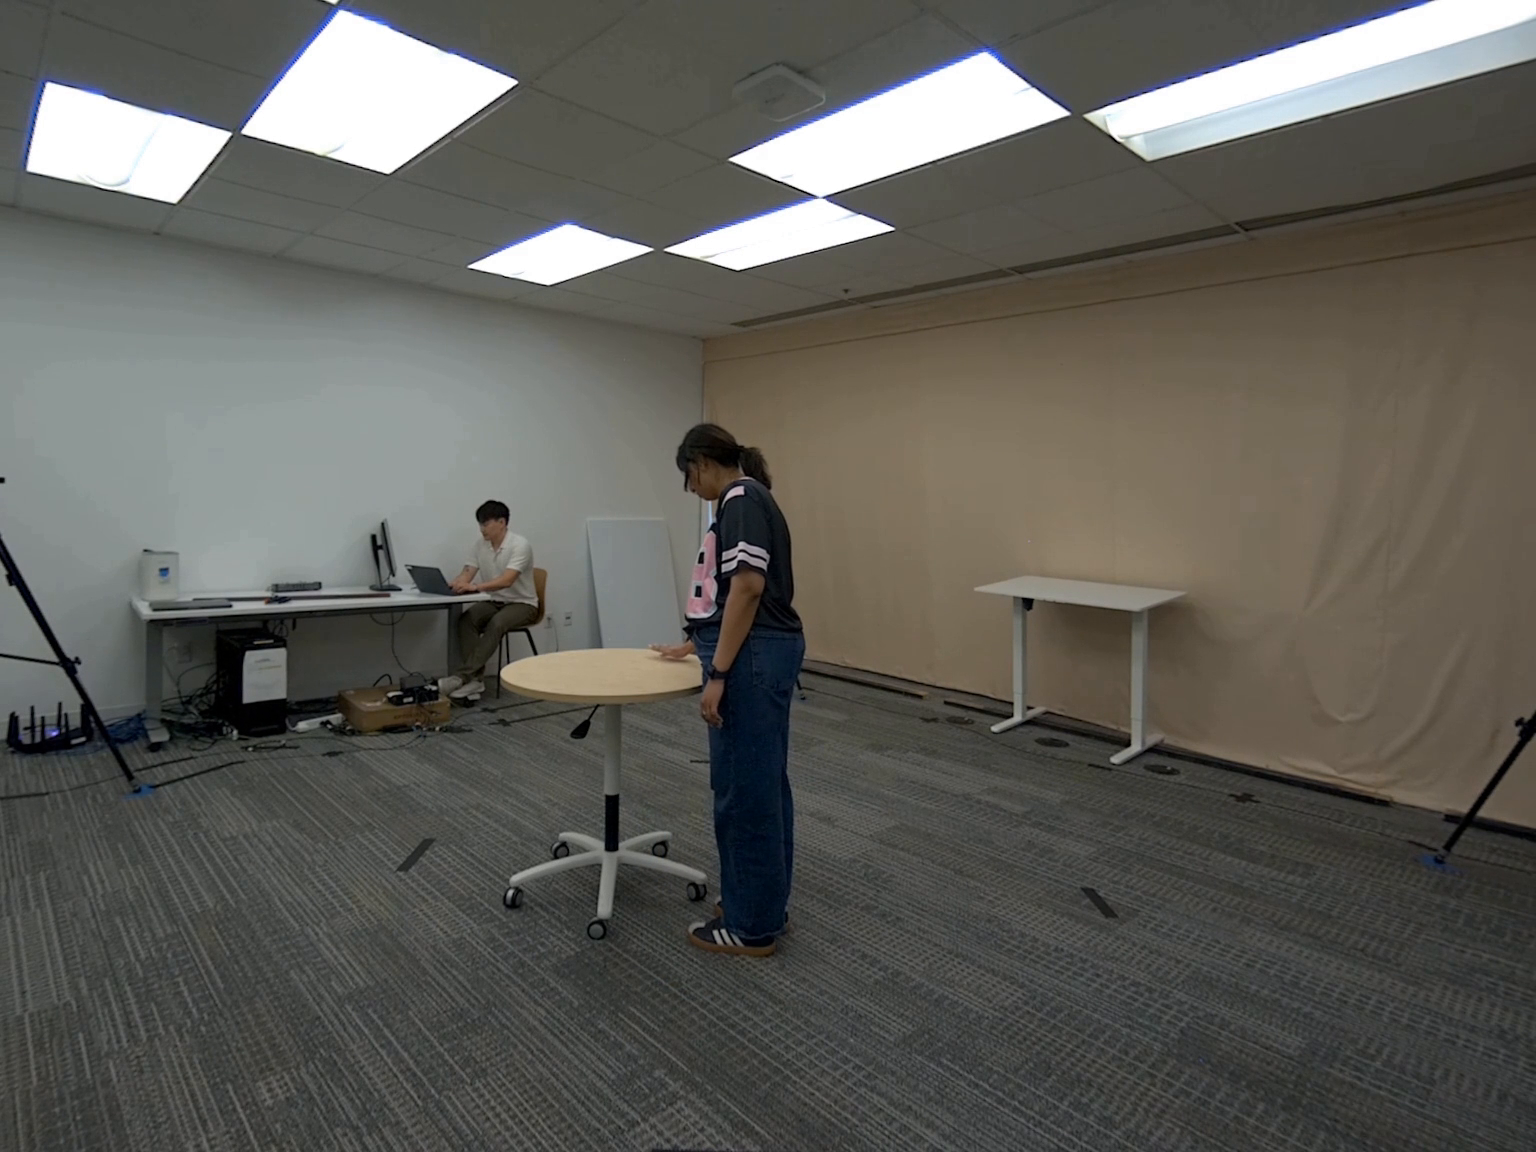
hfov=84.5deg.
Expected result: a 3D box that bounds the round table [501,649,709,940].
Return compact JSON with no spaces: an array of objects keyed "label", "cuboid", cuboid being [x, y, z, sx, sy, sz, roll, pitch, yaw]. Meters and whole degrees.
[{"label":"round table","cuboid":[-0.562,0.718,2.951,0.784,0.784,0.788,1,4,-1]}]
